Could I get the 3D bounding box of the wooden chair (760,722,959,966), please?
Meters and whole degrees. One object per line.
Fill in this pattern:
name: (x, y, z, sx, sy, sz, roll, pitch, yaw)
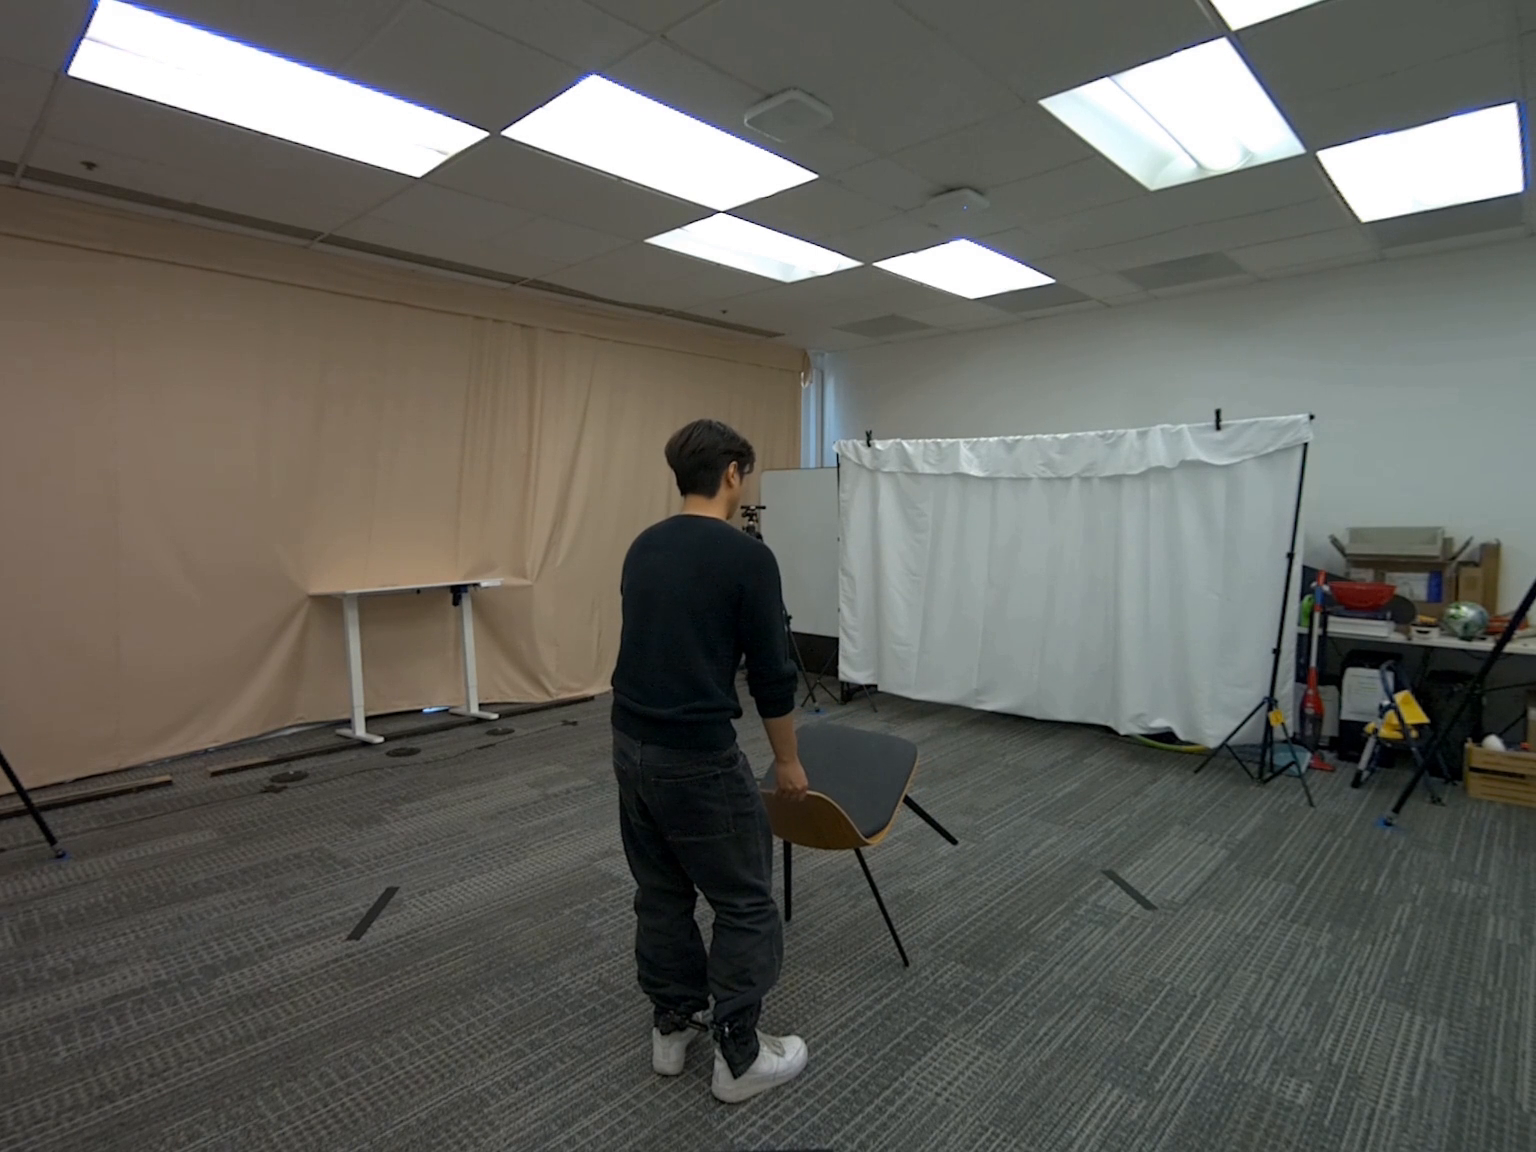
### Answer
wooden chair: (0.210, 0.692, 2.613, 0.494, 0.852, 0.521, 3, 45, 38)
